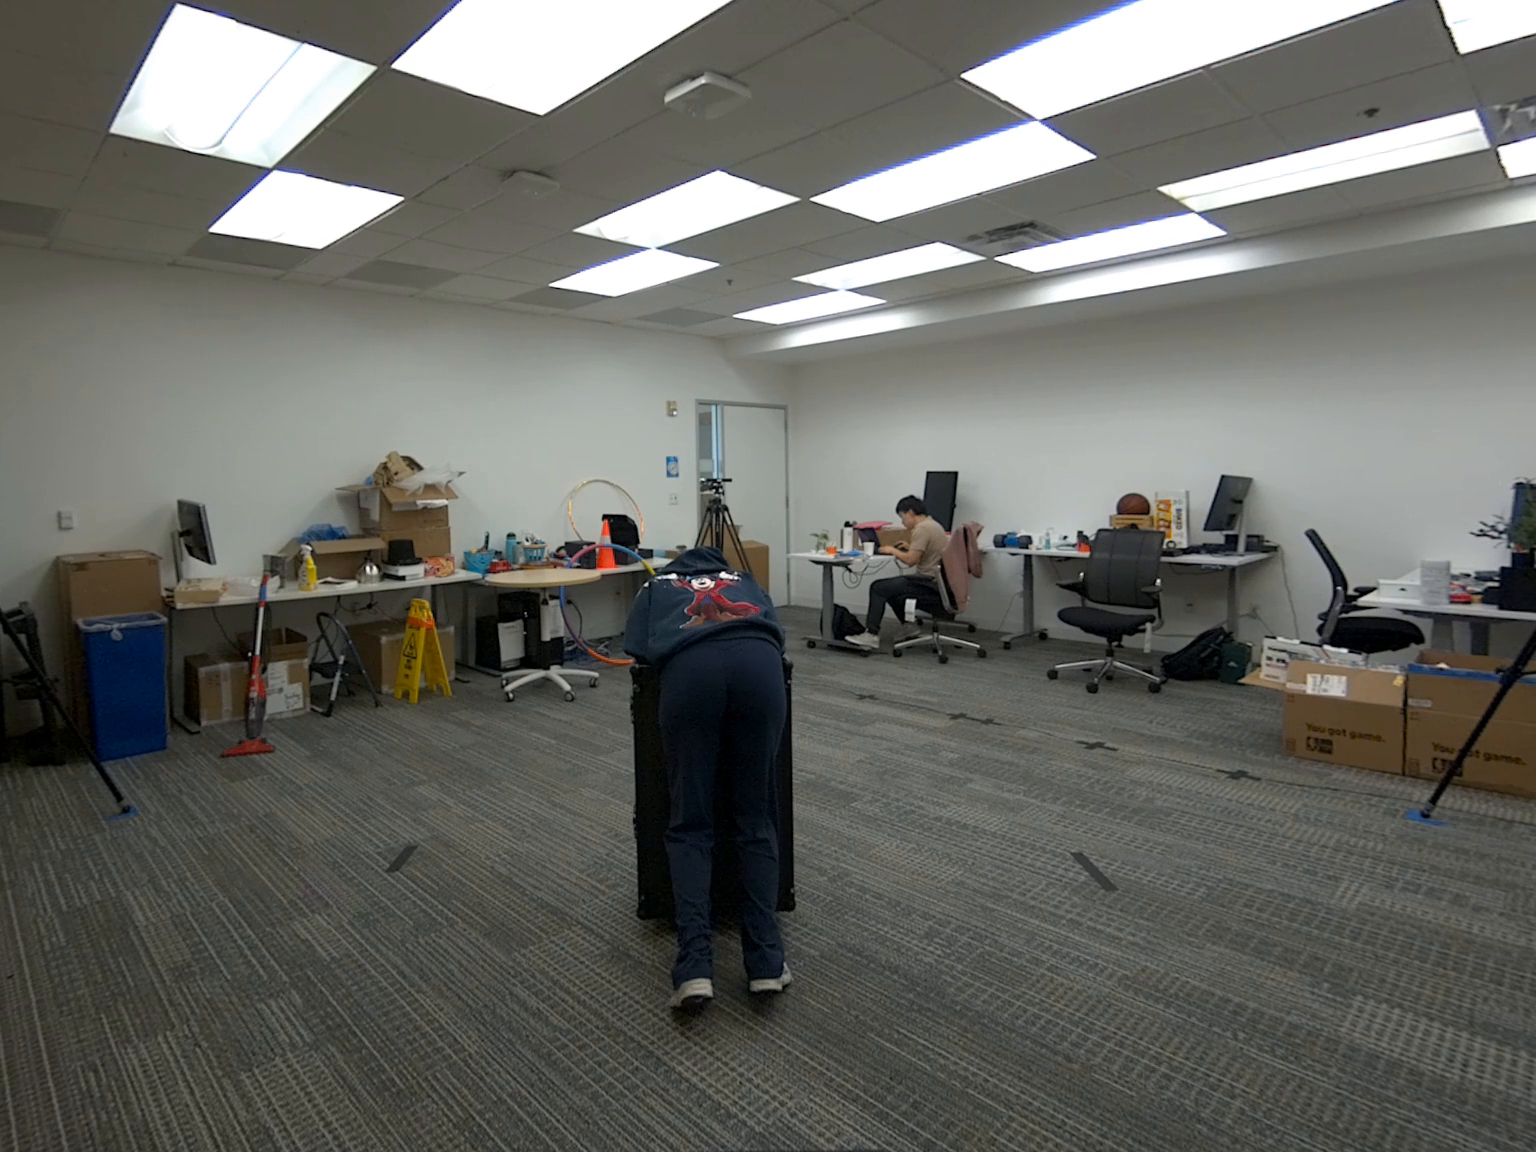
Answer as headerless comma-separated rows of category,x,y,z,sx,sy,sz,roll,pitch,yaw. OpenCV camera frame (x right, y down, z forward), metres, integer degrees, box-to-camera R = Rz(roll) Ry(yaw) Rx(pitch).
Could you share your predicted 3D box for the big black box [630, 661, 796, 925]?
big black box,-0.181,0.669,2.746,0.519,0.857,0.400,-1,6,-4
